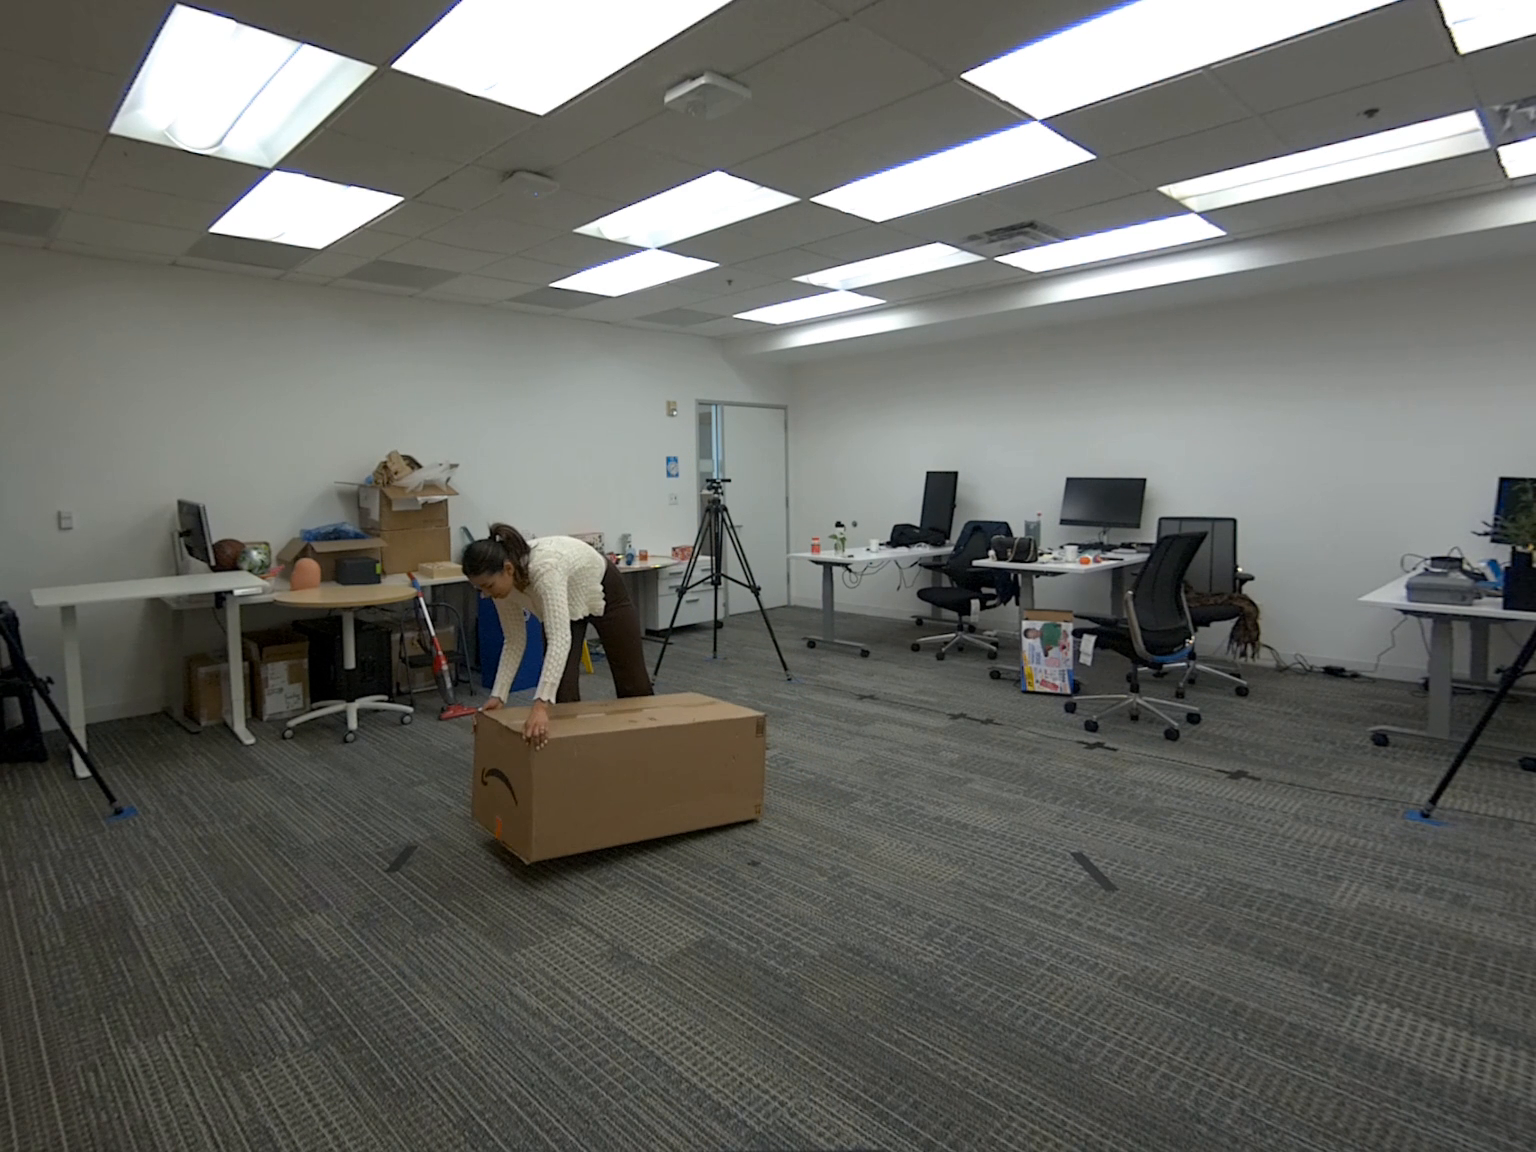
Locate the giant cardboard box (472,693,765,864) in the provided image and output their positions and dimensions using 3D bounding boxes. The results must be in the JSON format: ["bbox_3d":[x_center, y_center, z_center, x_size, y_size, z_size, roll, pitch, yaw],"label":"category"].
[{"bbox_3d":[-0.585,0.759,3.419,0.997,0.426,0.594,1,1,-36],"label":"giant cardboard box"}]
